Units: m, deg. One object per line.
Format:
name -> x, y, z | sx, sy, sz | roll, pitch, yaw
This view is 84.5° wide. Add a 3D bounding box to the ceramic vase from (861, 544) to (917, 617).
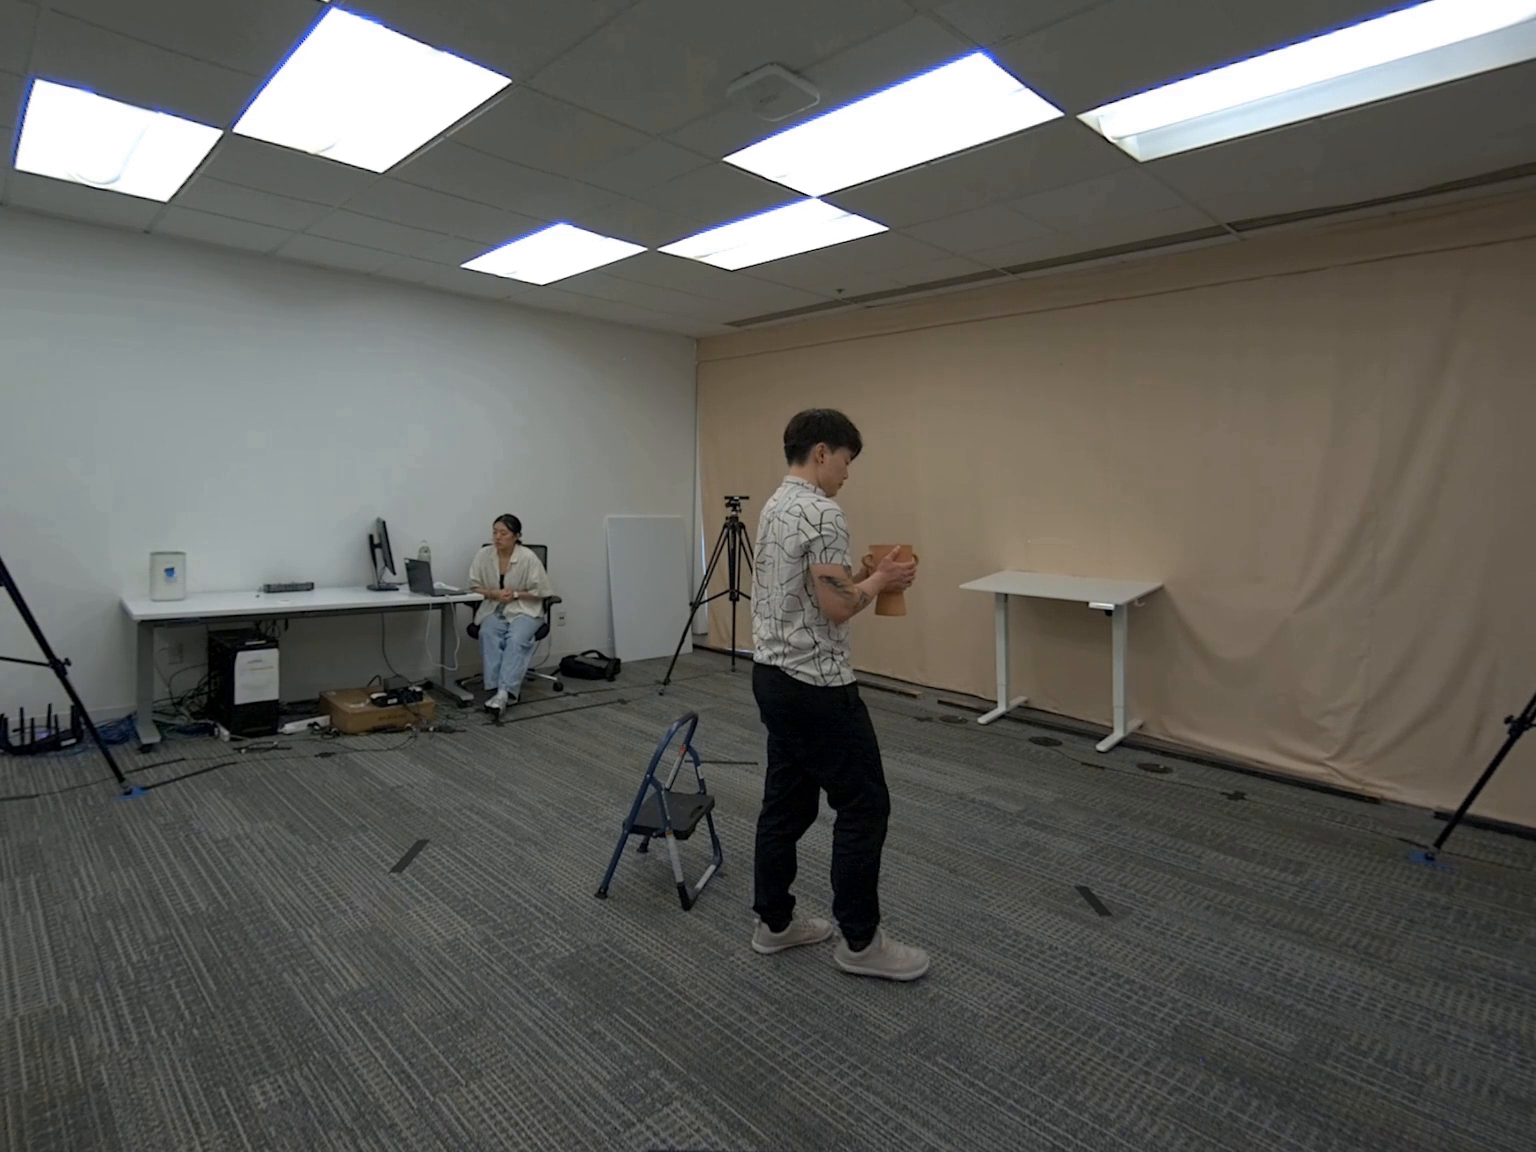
ceramic vase -> 0.386, 0.014, 2.615 | 0.161, 0.220, 0.132 | 1, 1, 20
